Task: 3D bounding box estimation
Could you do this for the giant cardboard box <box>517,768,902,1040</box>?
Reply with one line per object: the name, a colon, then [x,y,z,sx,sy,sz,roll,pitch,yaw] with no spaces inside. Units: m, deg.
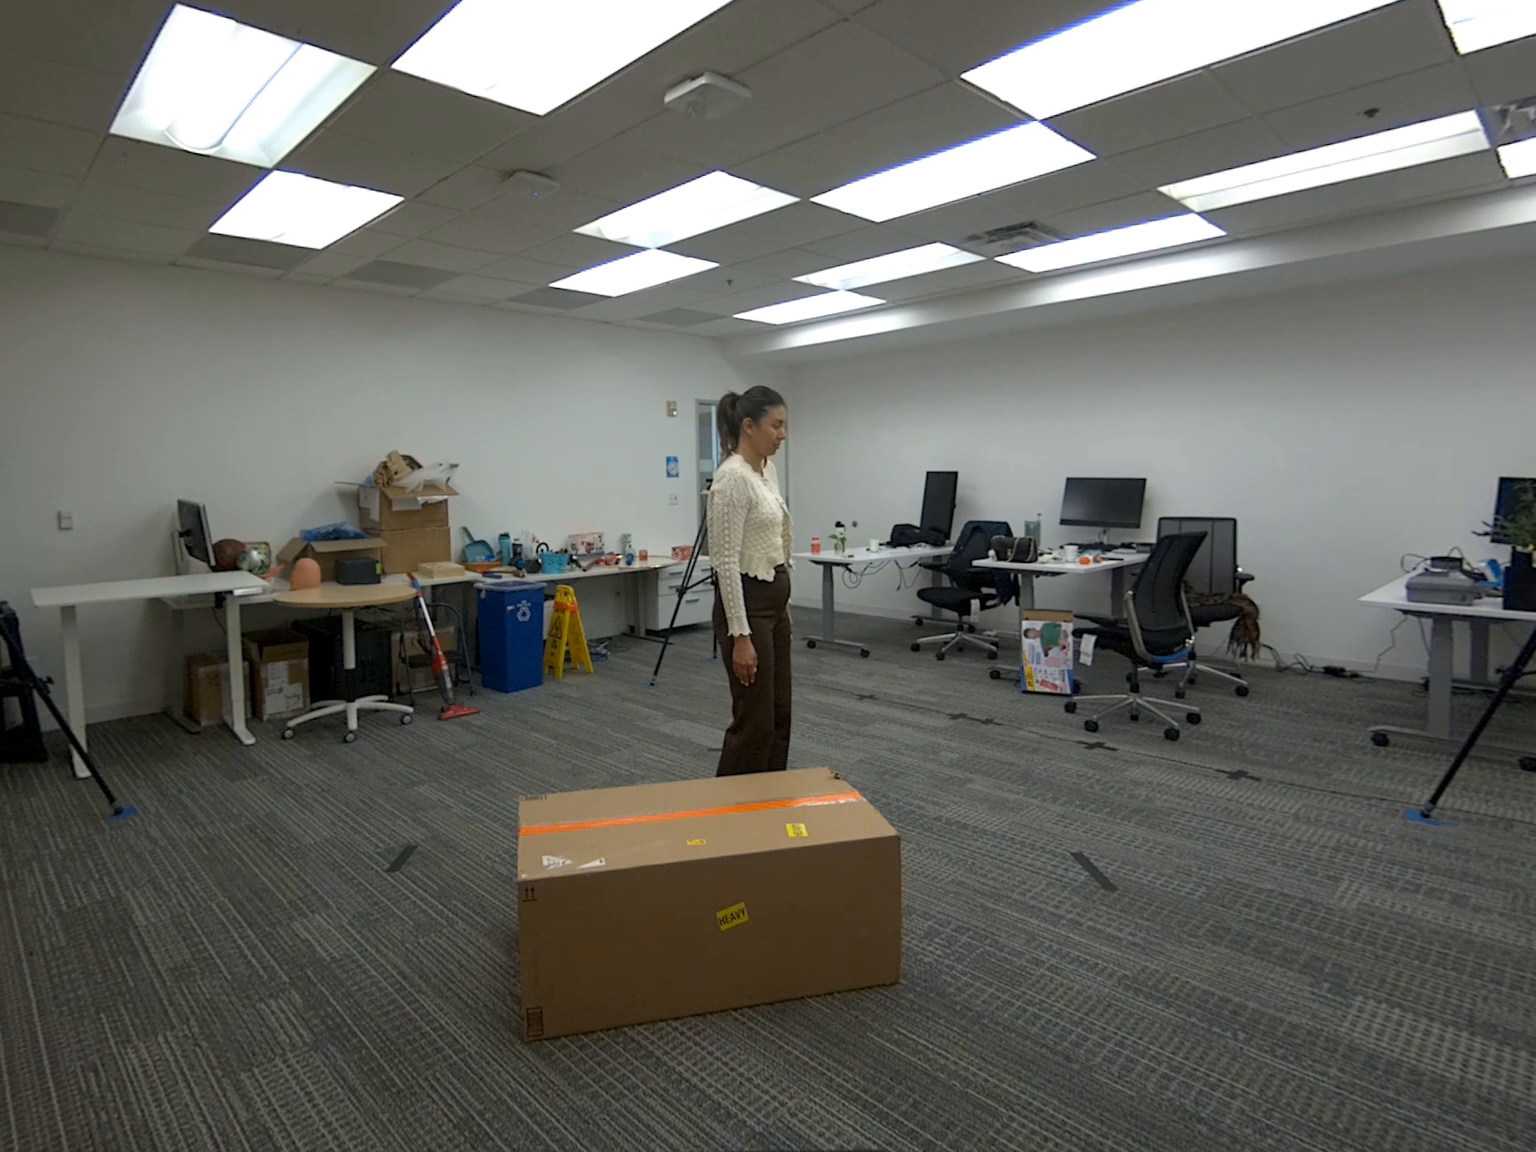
giant cardboard box: [-0.203,0.900,2.508,1.013,0.424,0.588,-3,7,-14]
